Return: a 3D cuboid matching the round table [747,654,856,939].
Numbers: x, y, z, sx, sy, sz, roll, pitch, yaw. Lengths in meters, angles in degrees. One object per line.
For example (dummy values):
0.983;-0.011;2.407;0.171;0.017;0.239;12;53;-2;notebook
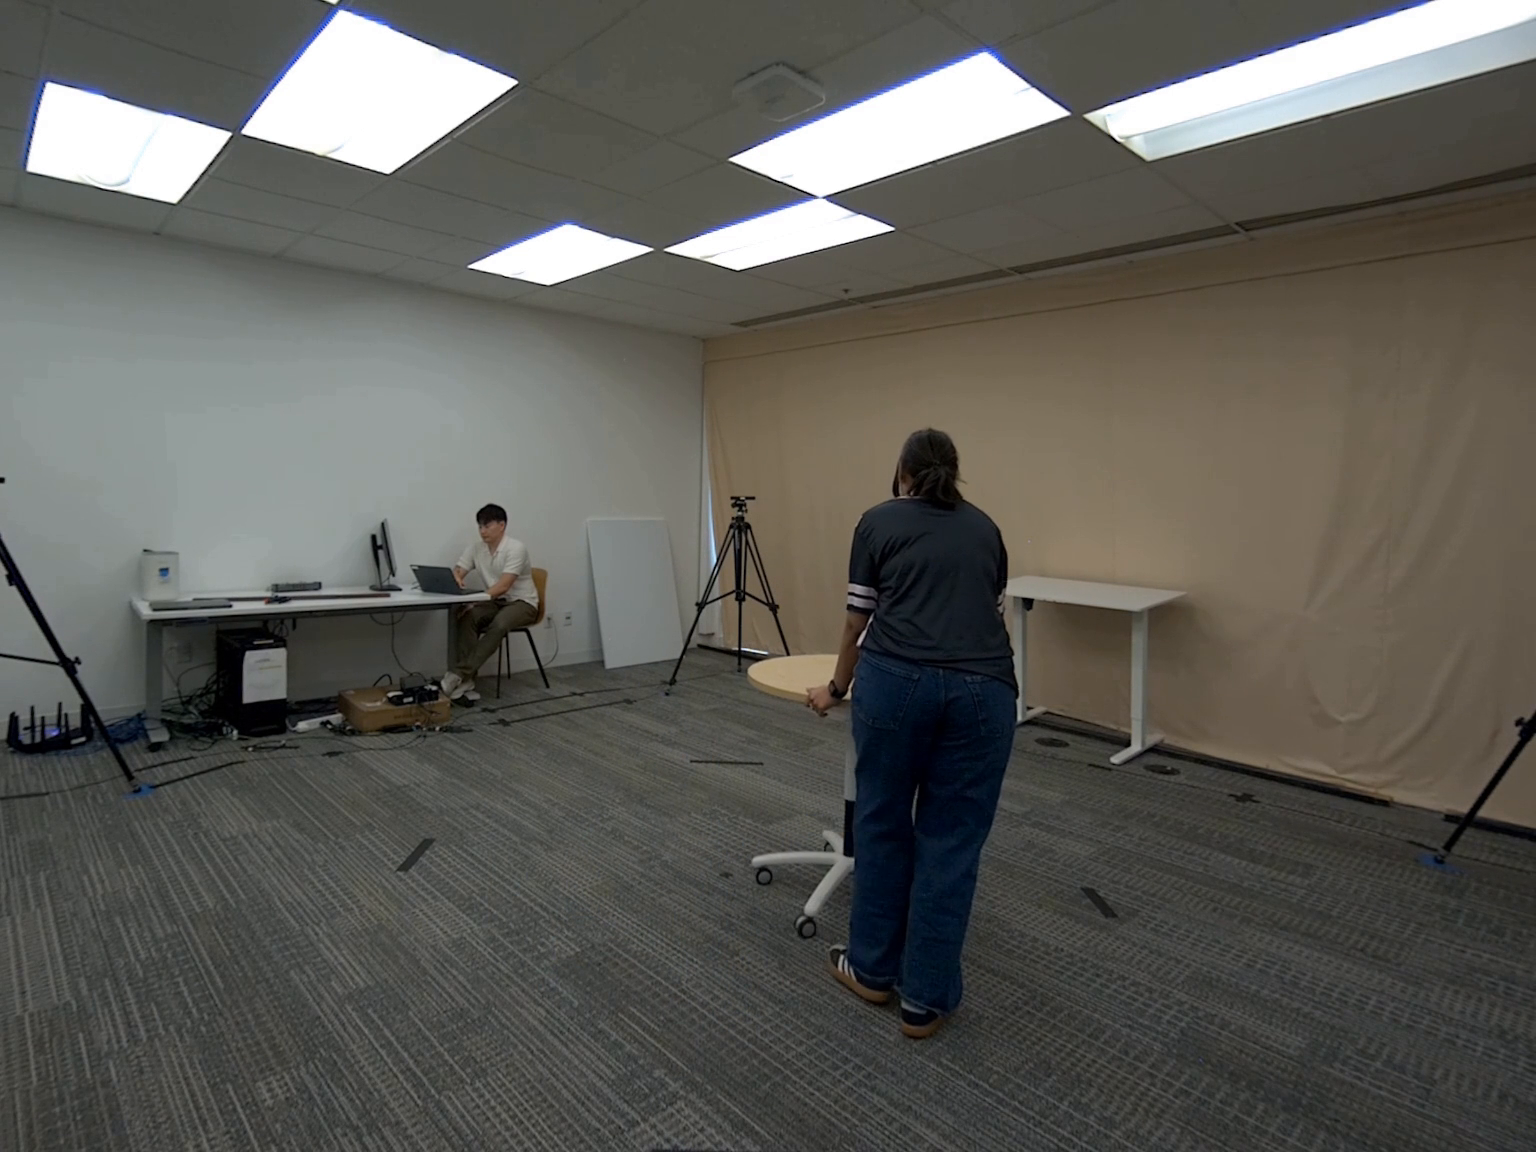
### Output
0.283;0.738;2.950;0.784;0.784;0.788;2;4;-1;round table
